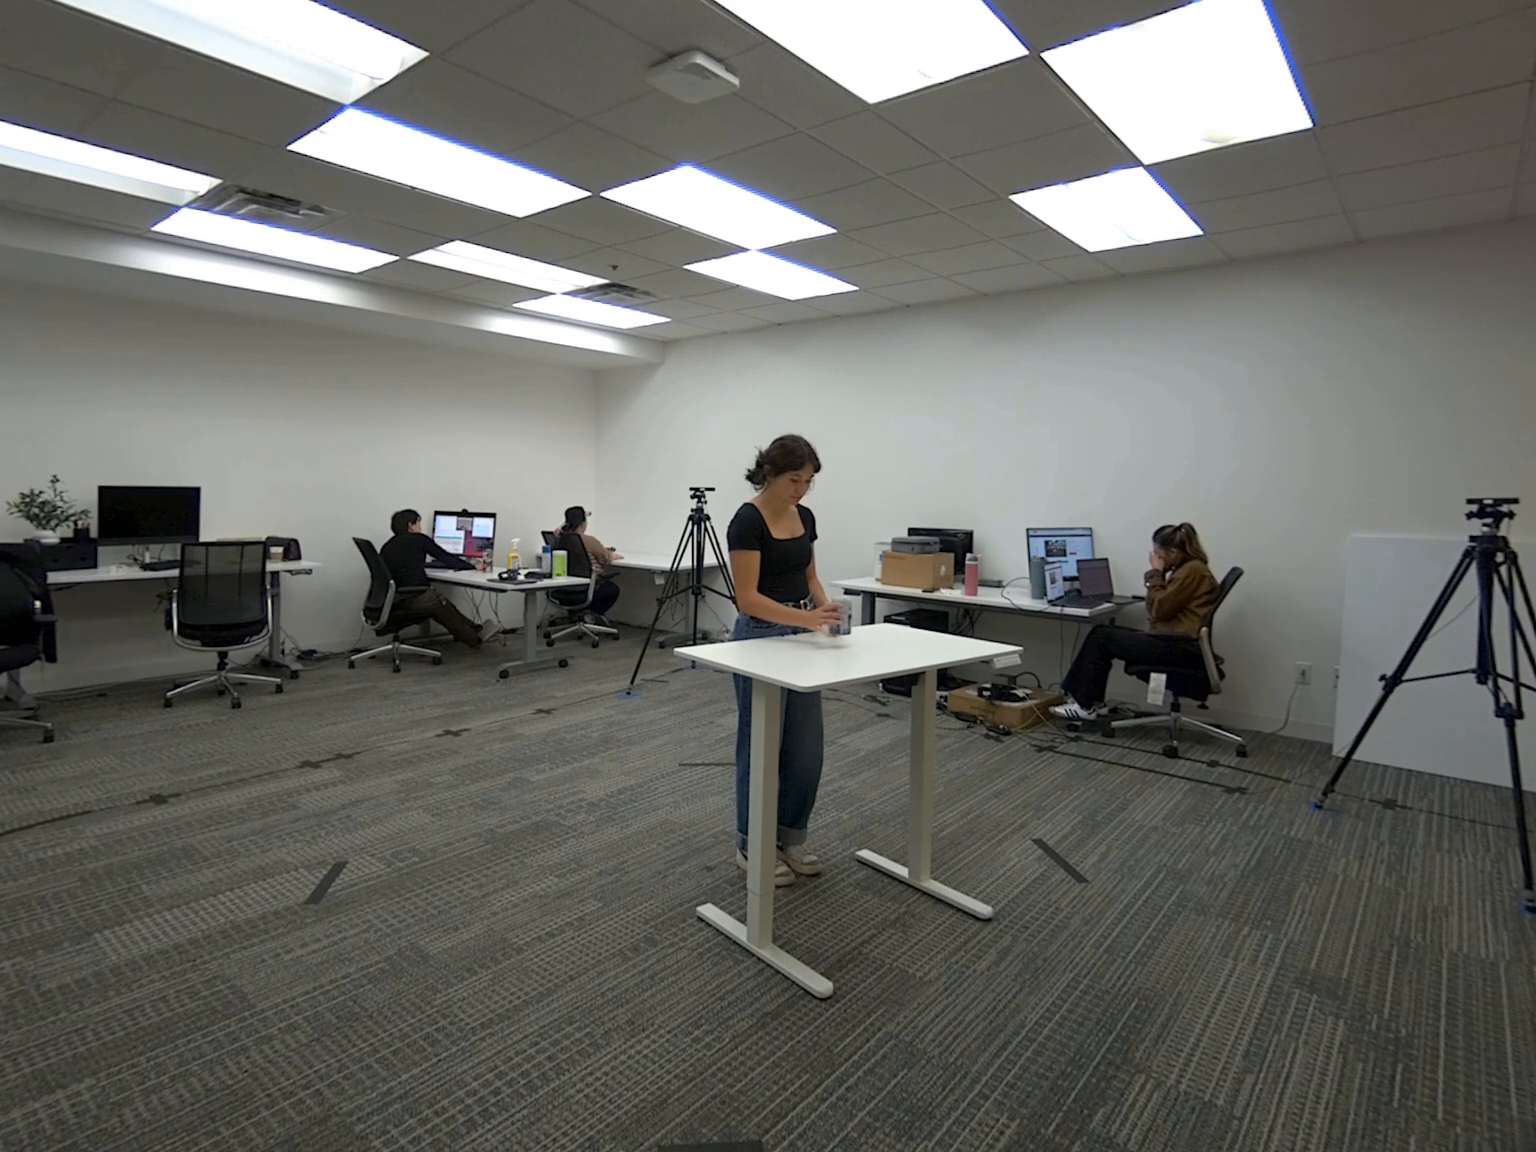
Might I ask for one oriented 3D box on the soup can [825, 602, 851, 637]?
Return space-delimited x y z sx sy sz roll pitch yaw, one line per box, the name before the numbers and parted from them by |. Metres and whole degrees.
soup can | 0.232 0.123 2.770 0.067 0.121 0.067 1 3 -2
